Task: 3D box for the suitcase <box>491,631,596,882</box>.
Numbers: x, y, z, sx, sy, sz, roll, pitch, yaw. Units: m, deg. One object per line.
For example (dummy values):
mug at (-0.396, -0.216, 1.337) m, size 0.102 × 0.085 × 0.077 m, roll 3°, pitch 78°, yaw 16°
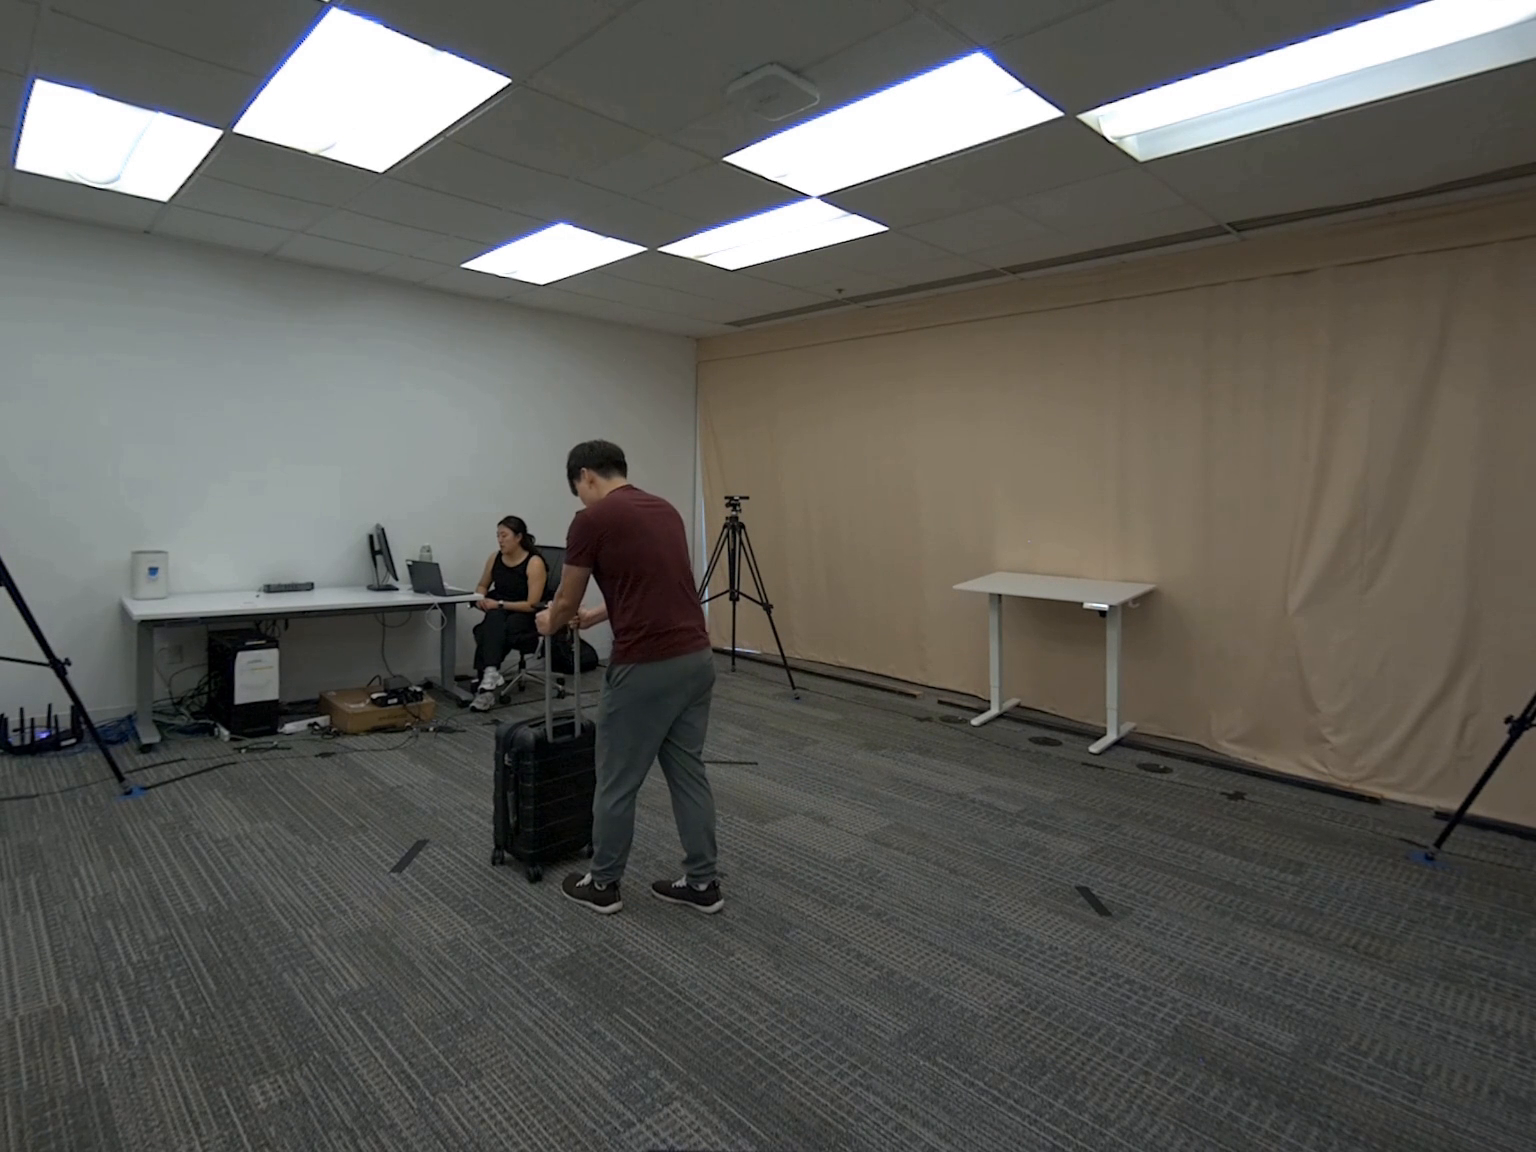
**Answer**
suitcase at (-0.856, 0.604, 3.204) m, size 0.263 × 0.978 × 0.375 m, roll 0°, pitch 1°, yaw 38°
